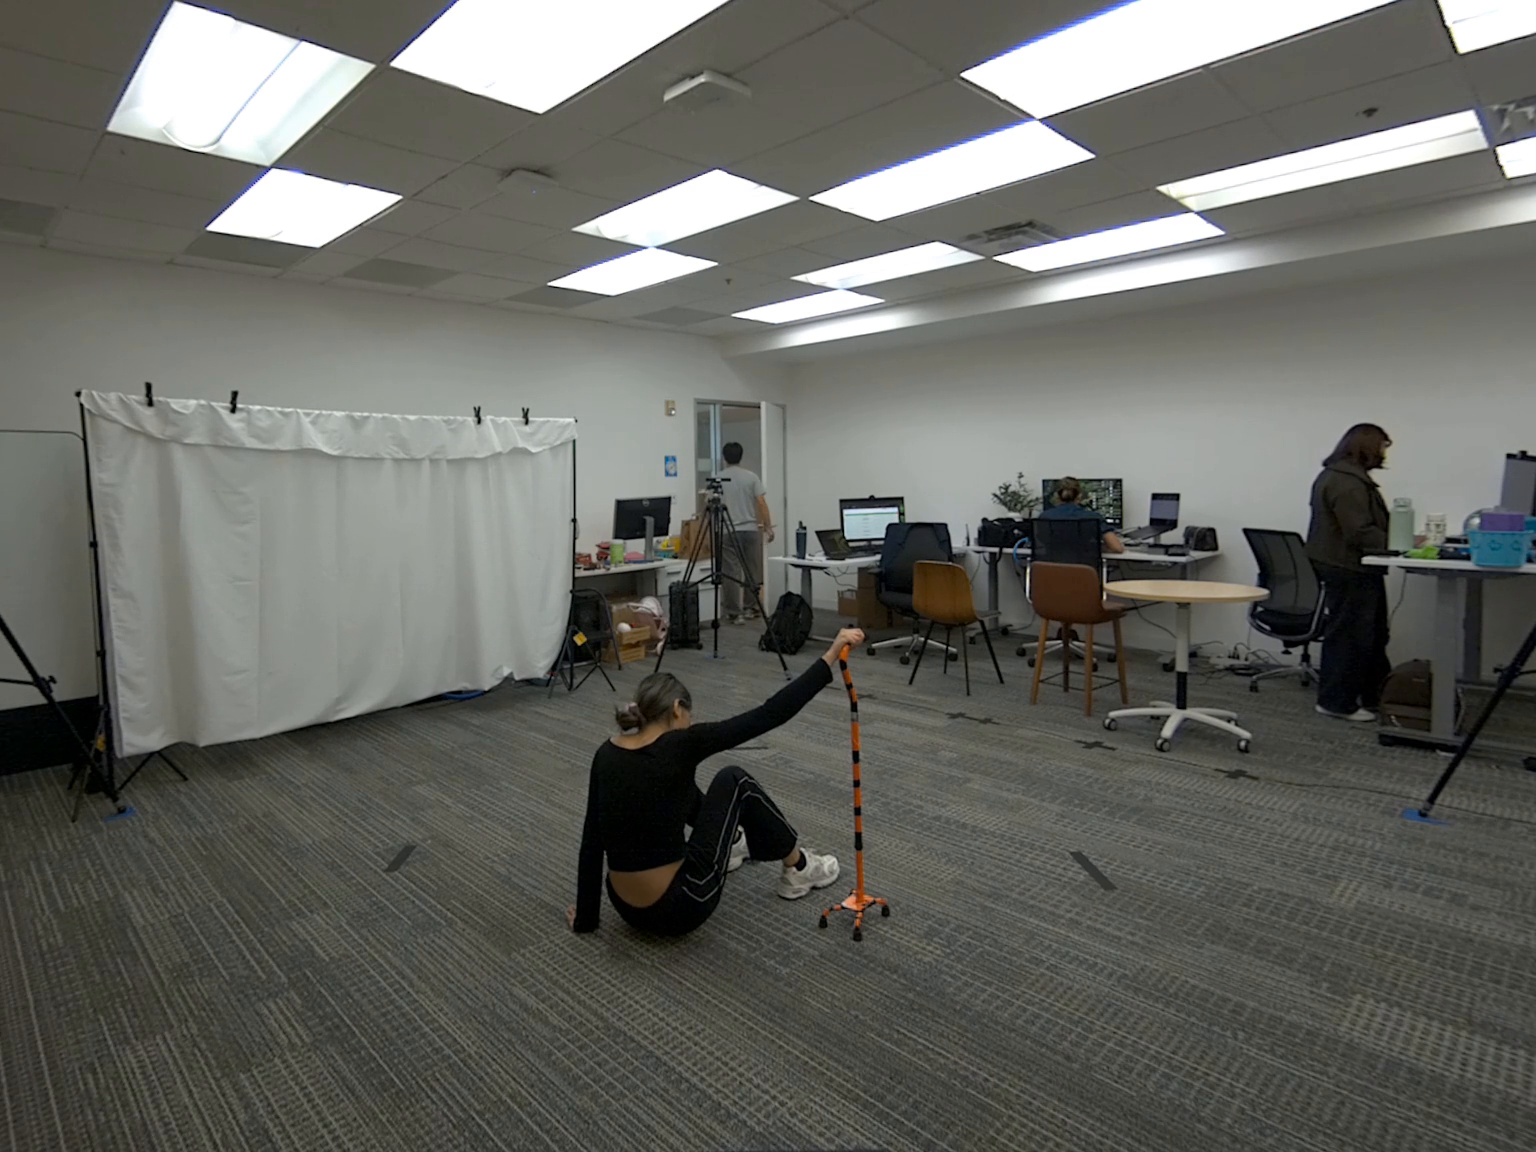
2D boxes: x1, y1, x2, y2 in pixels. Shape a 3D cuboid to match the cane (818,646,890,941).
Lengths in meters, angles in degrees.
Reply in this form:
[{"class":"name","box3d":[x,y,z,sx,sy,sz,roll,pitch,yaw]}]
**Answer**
[{"class":"cane","box3d":[0.259,0.627,2.648,0.156,0.904,0.201,1,6,37]}]
